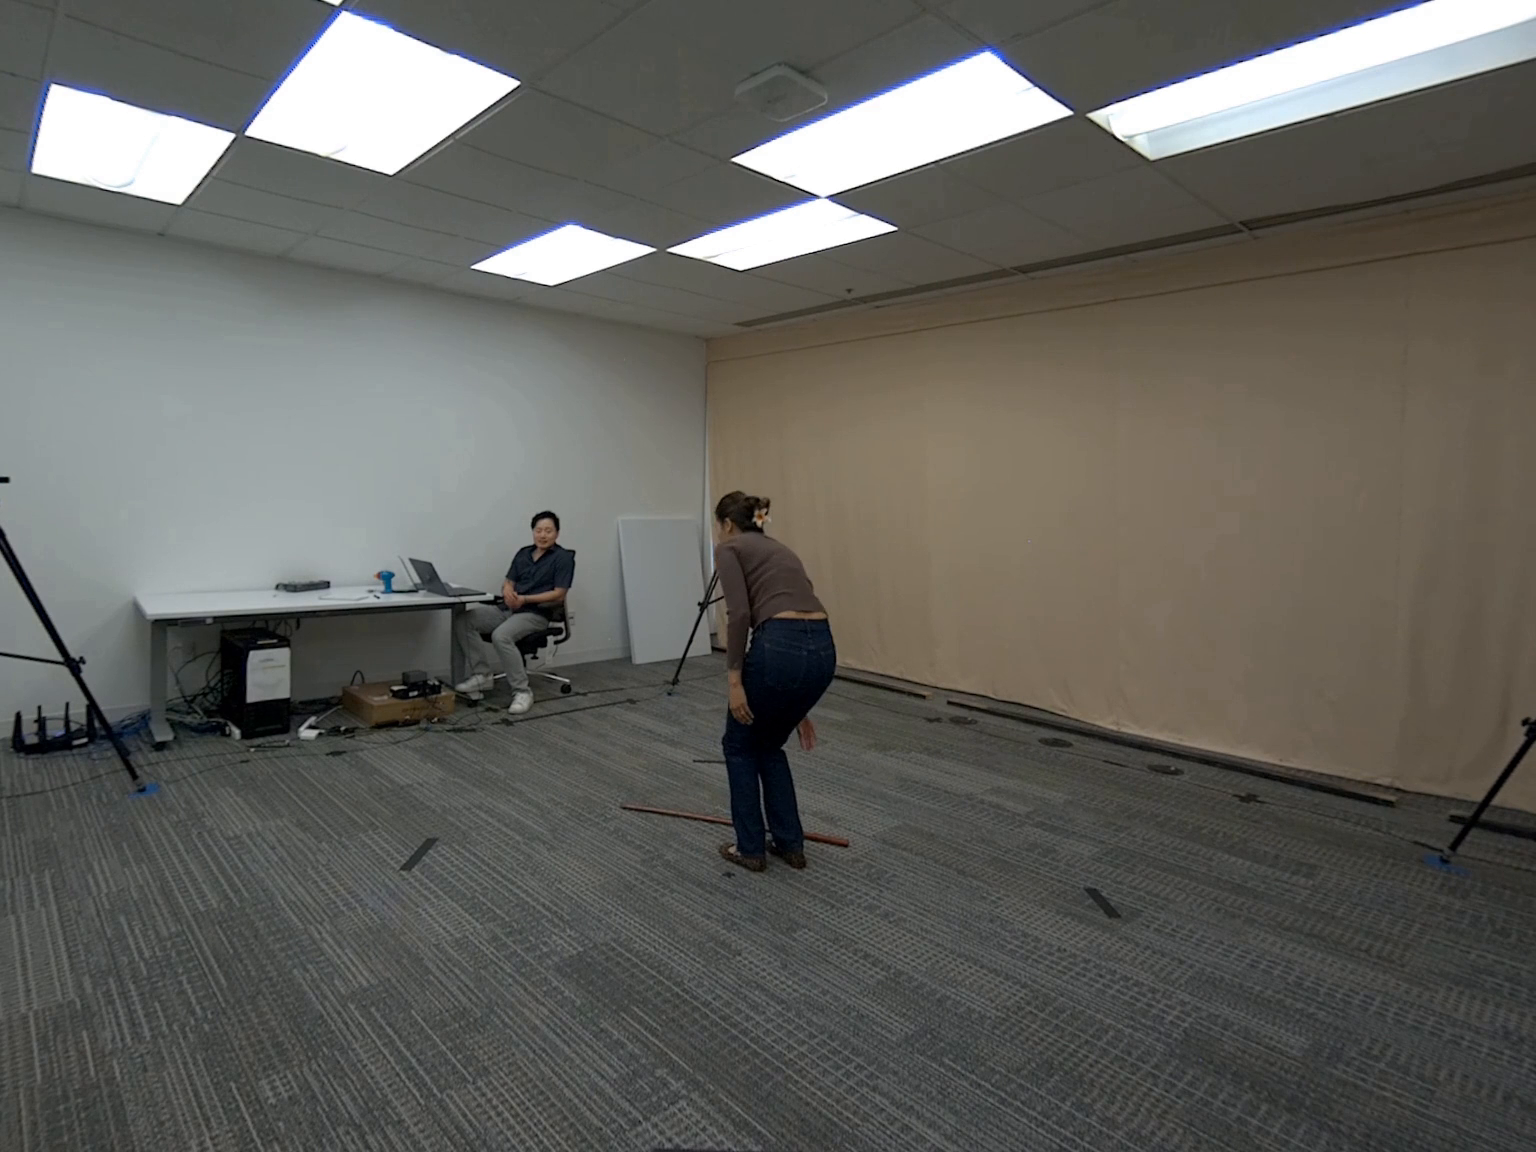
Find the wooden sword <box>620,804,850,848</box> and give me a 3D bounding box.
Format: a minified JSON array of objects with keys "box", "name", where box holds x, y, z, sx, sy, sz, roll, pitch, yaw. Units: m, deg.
[{"box":[-0.154,1.033,3.566,1.041,0.052,0.023,2,-19,20],"name":"wooden sword"}]
